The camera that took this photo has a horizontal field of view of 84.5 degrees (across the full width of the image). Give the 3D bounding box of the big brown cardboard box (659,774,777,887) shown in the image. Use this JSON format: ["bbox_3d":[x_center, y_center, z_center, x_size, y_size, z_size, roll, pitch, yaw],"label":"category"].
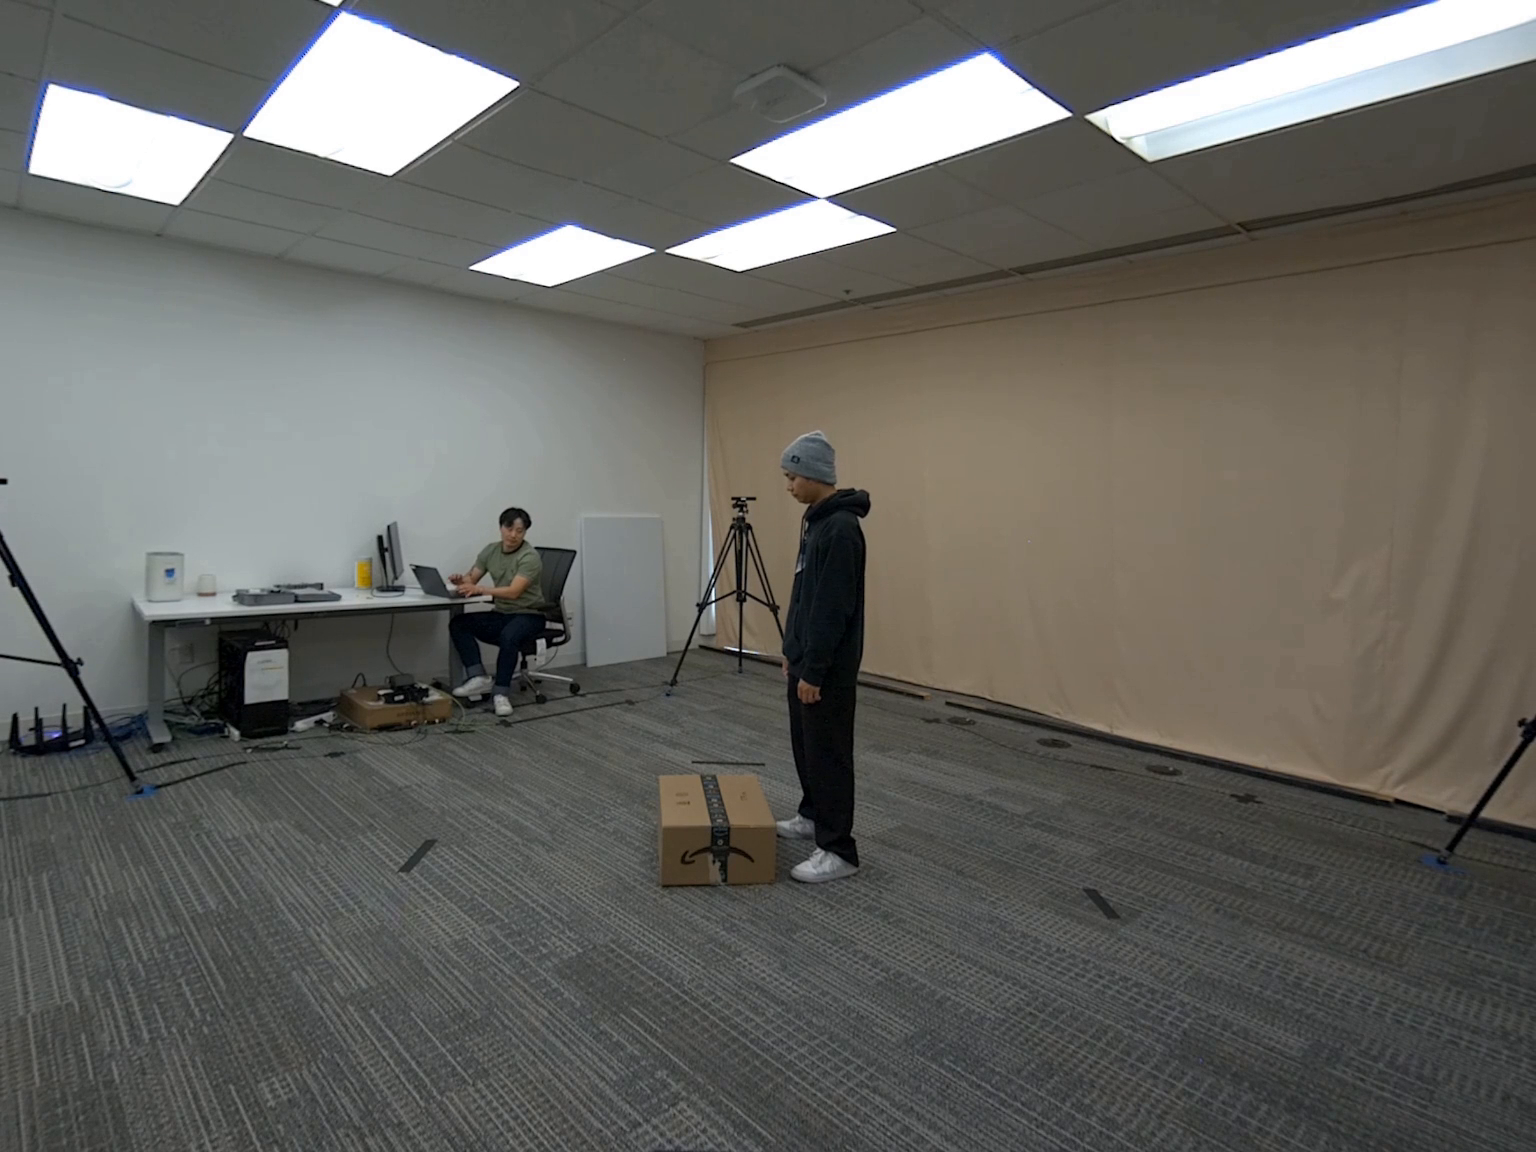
[{"bbox_3d":[-0.224,0.977,3.295,0.415,0.232,0.594,2,4,-8],"label":"big brown cardboard box"}]
